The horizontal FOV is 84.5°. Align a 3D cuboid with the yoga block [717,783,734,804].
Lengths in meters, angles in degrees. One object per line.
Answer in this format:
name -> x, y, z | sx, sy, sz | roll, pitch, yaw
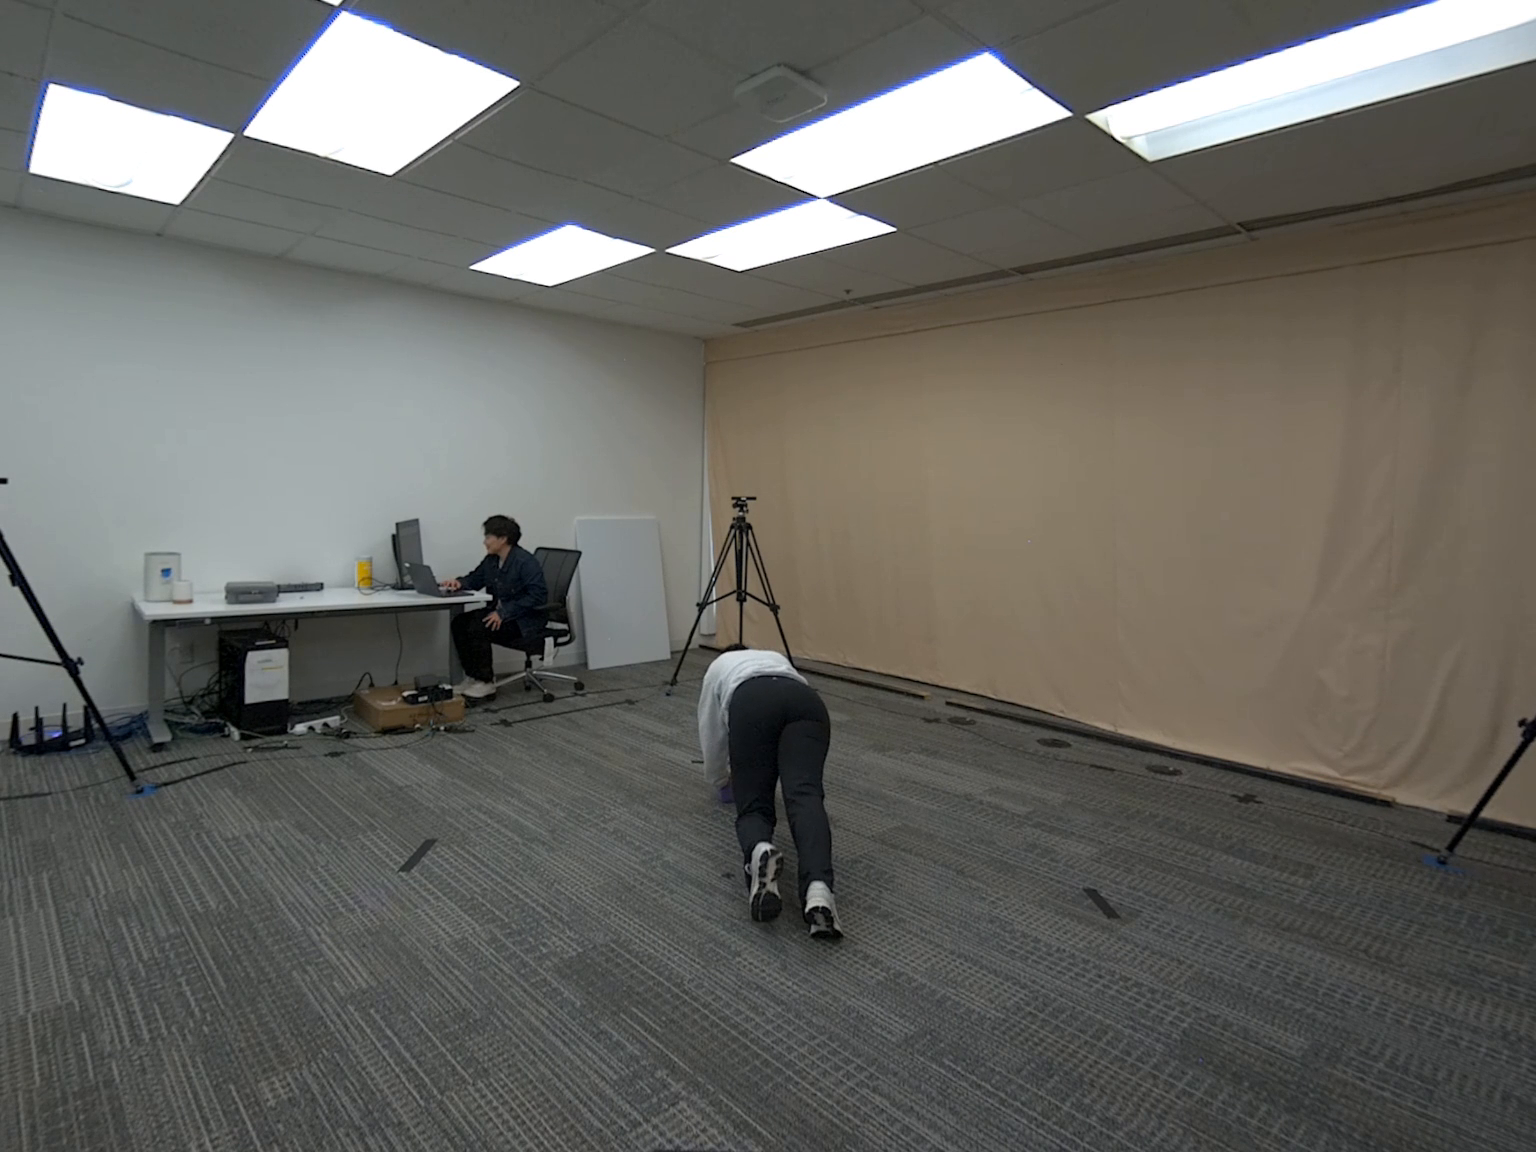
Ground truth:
yoga block -> -0.130, 1.006, 3.946 | 0.227, 0.076, 0.151 | 0, 4, -12
